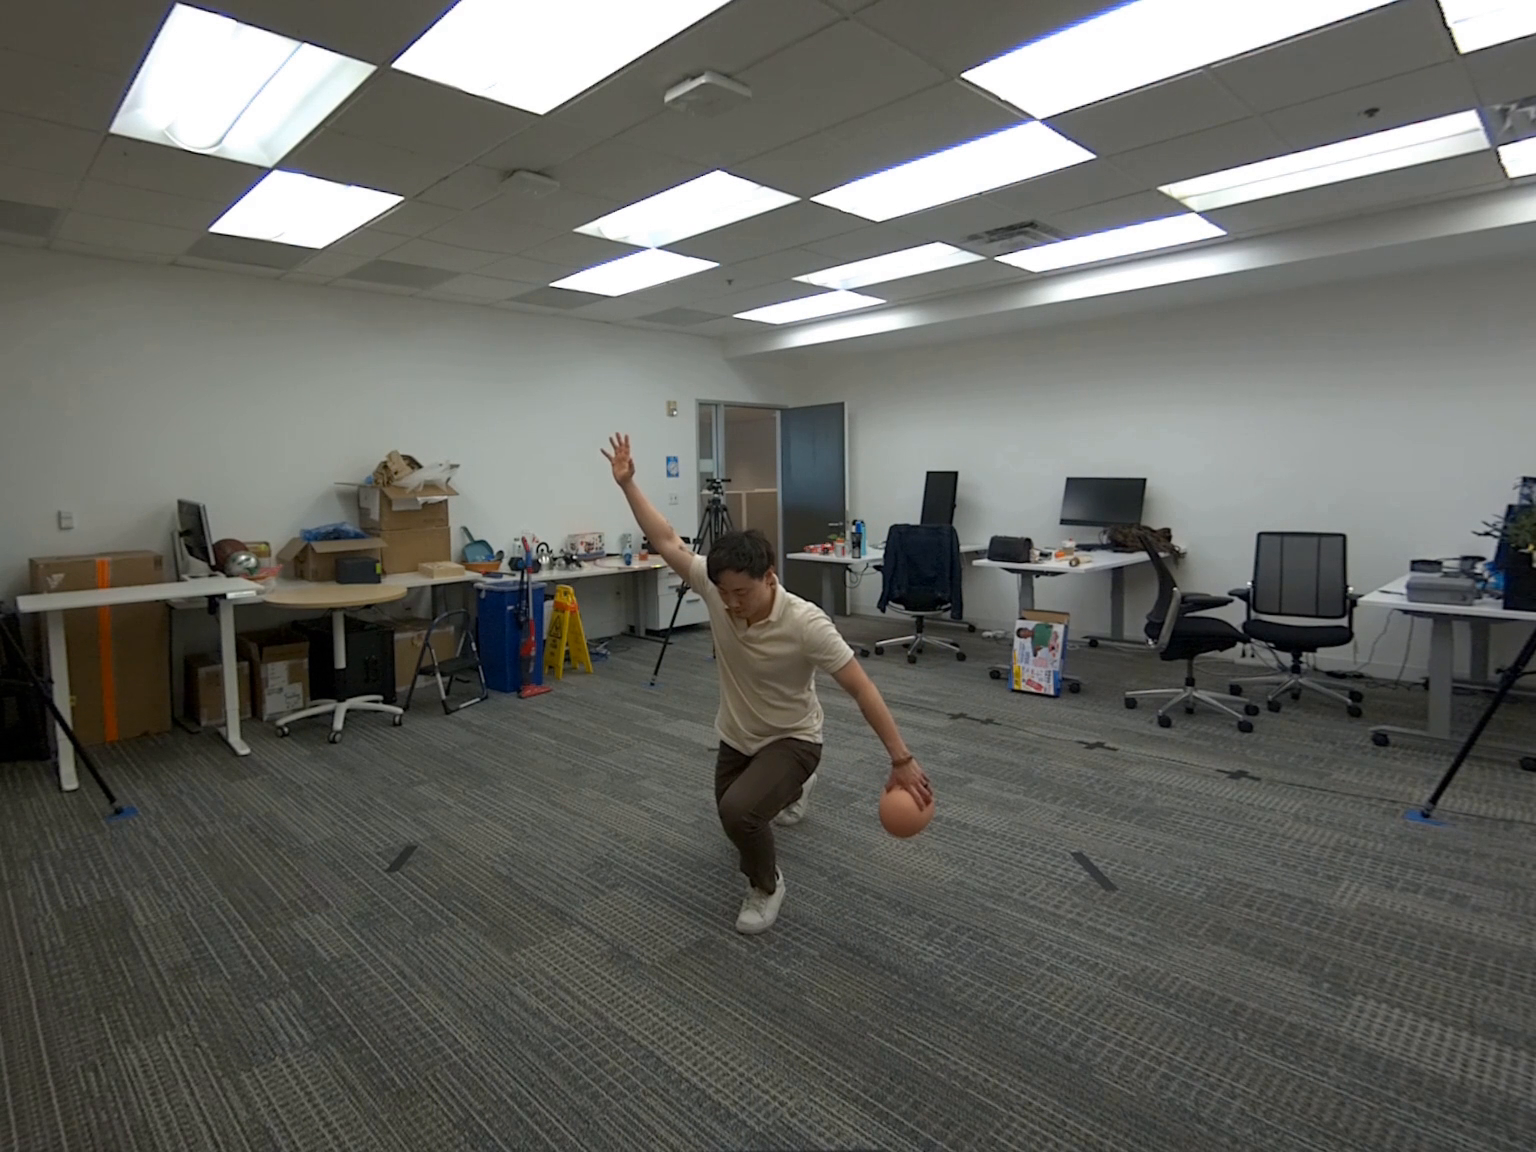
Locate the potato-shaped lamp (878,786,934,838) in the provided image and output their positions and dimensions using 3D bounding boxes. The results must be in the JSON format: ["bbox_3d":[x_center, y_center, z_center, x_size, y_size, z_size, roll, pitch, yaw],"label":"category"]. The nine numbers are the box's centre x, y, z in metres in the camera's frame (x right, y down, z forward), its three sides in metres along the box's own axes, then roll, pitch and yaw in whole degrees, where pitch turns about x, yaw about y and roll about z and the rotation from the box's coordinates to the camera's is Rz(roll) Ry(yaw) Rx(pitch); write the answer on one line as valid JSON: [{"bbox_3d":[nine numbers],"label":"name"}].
[{"bbox_3d":[0.421,0.708,2.612,0.168,0.171,0.194,15,1,17],"label":"potato-shaped lamp"}]
